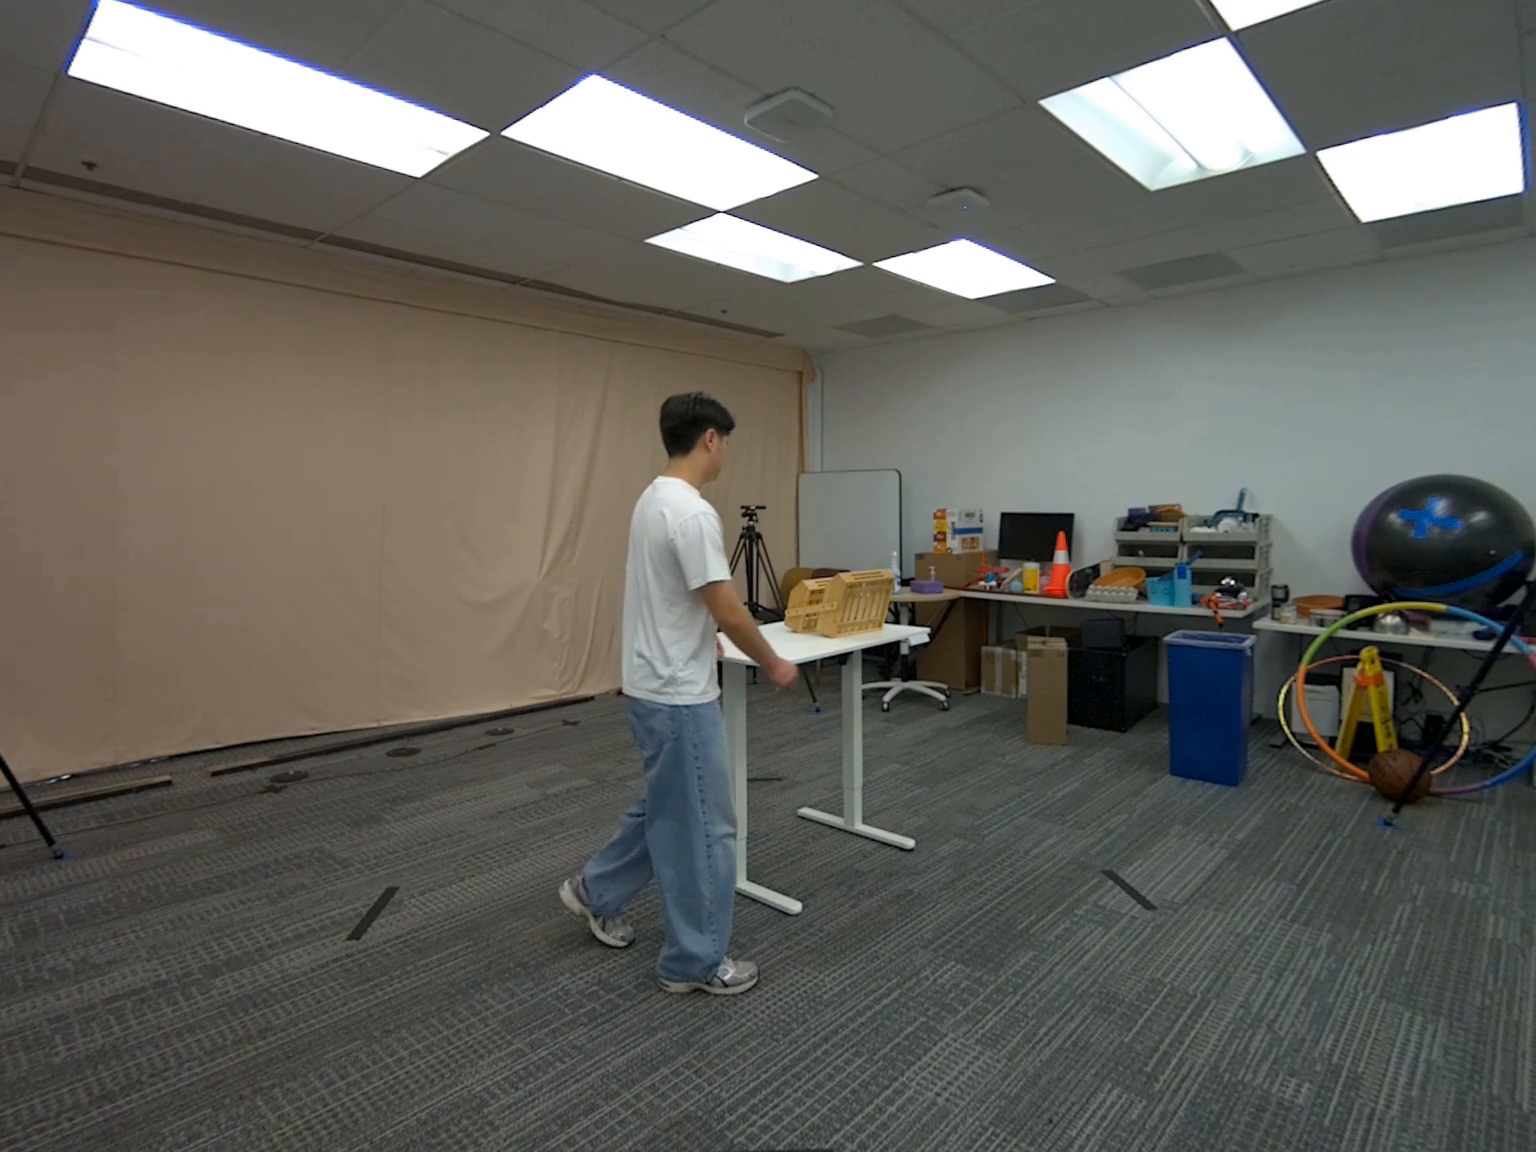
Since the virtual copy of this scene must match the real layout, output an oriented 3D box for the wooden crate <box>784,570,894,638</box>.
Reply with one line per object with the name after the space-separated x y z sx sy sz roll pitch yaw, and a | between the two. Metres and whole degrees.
0.288 0.093 3.384 0.314 0.300 0.283 -4 21 -42 | wooden crate
